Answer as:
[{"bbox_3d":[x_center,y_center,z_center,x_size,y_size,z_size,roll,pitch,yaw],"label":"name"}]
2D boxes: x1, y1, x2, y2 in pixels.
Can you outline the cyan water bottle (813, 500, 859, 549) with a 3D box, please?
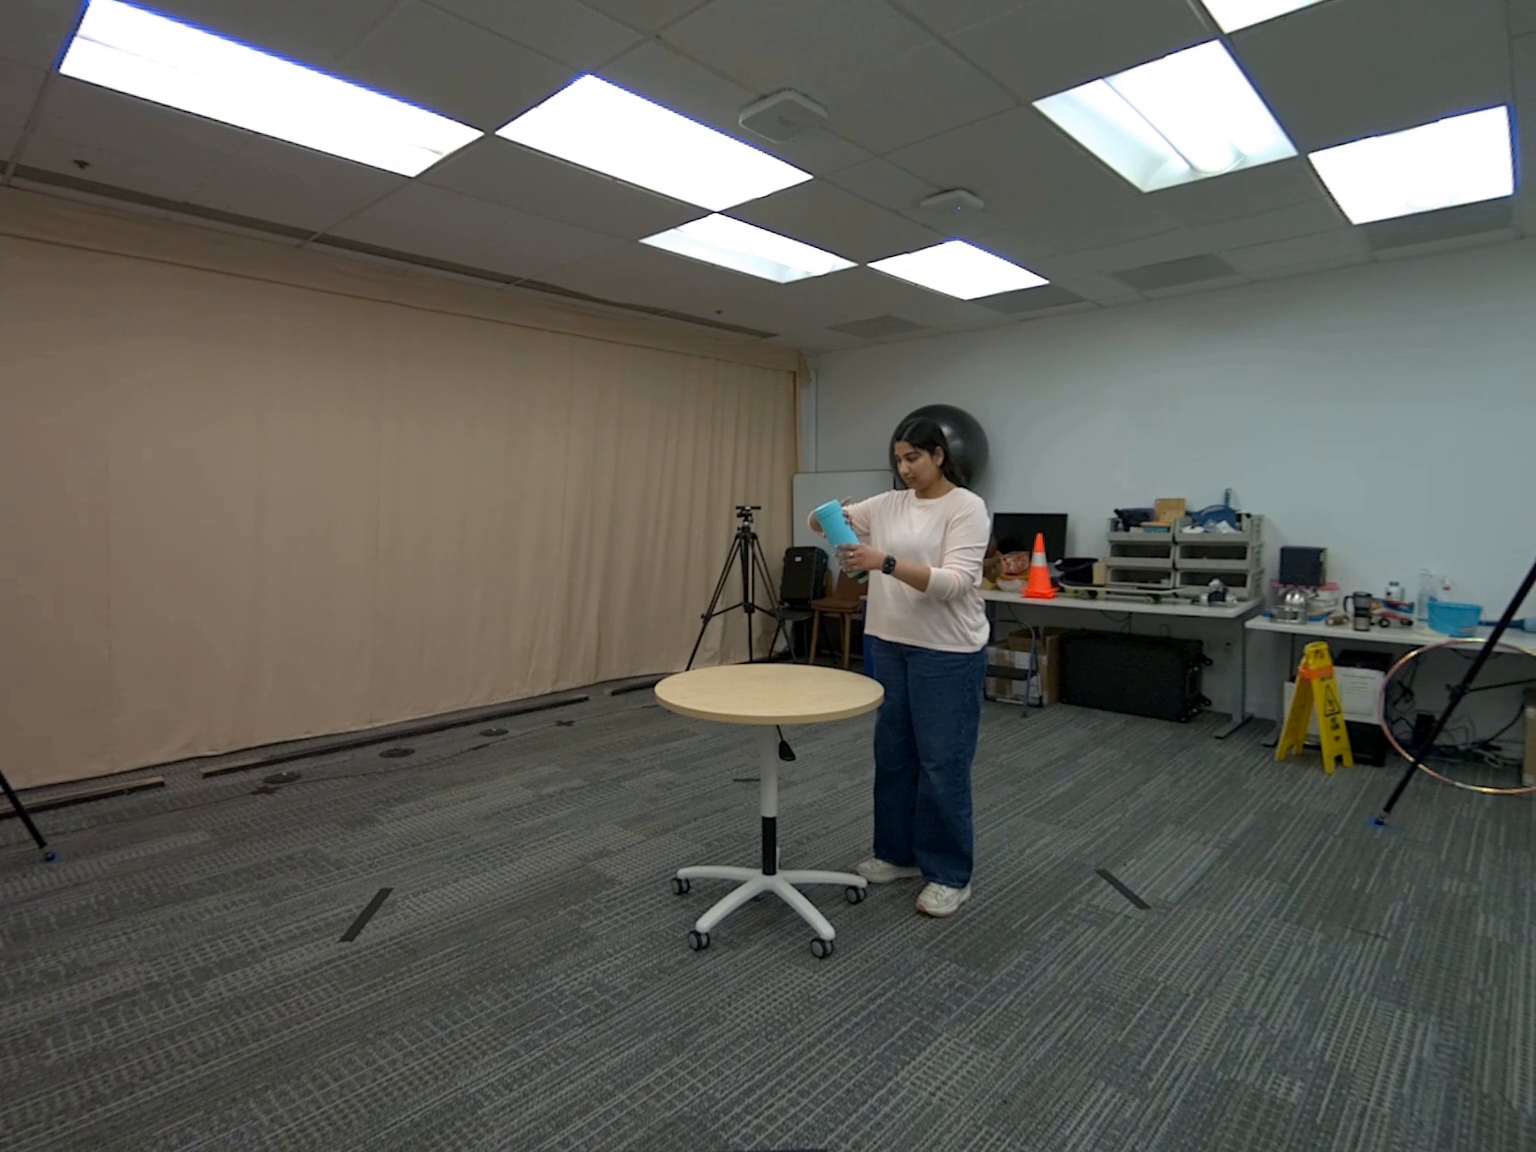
[{"bbox_3d":[0.270,-0.106,2.801,0.092,0.282,0.092,-25,4,1],"label":"cyan water bottle"}]
